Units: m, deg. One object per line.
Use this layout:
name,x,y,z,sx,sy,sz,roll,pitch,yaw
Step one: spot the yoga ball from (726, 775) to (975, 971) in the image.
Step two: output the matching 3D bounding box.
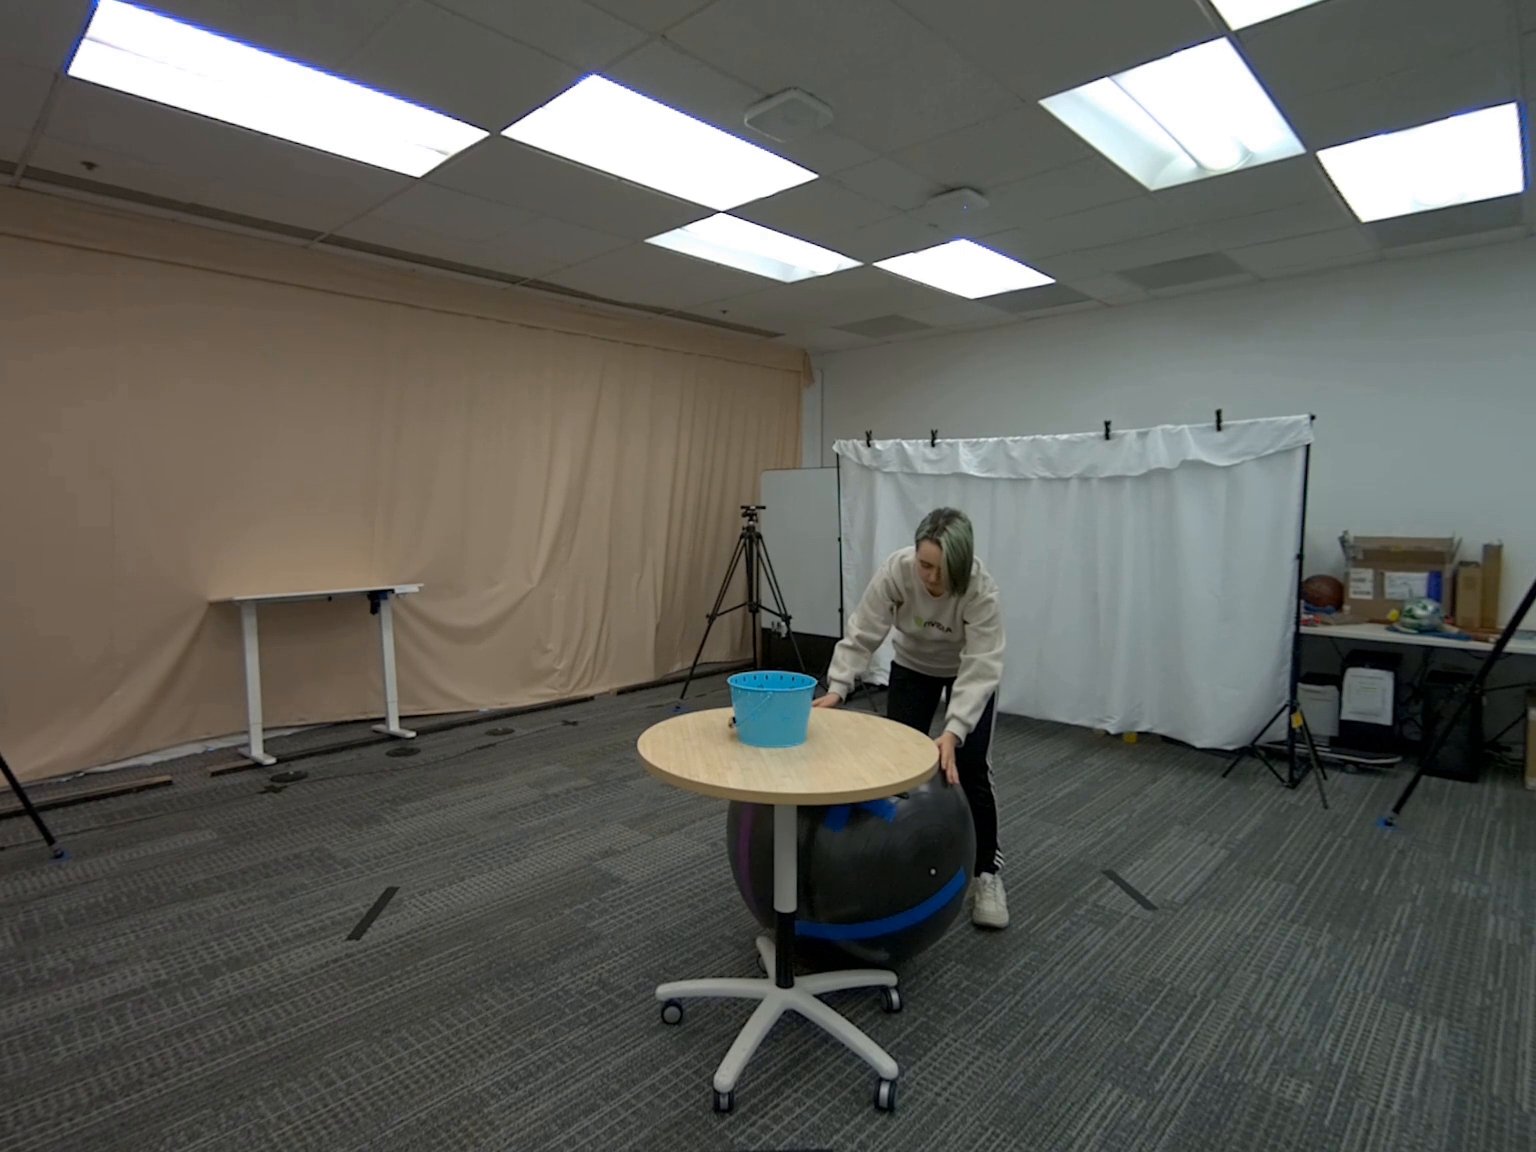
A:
yoga ball,0.255,0.803,2.606,0.757,0.756,0.761,0,4,-2
